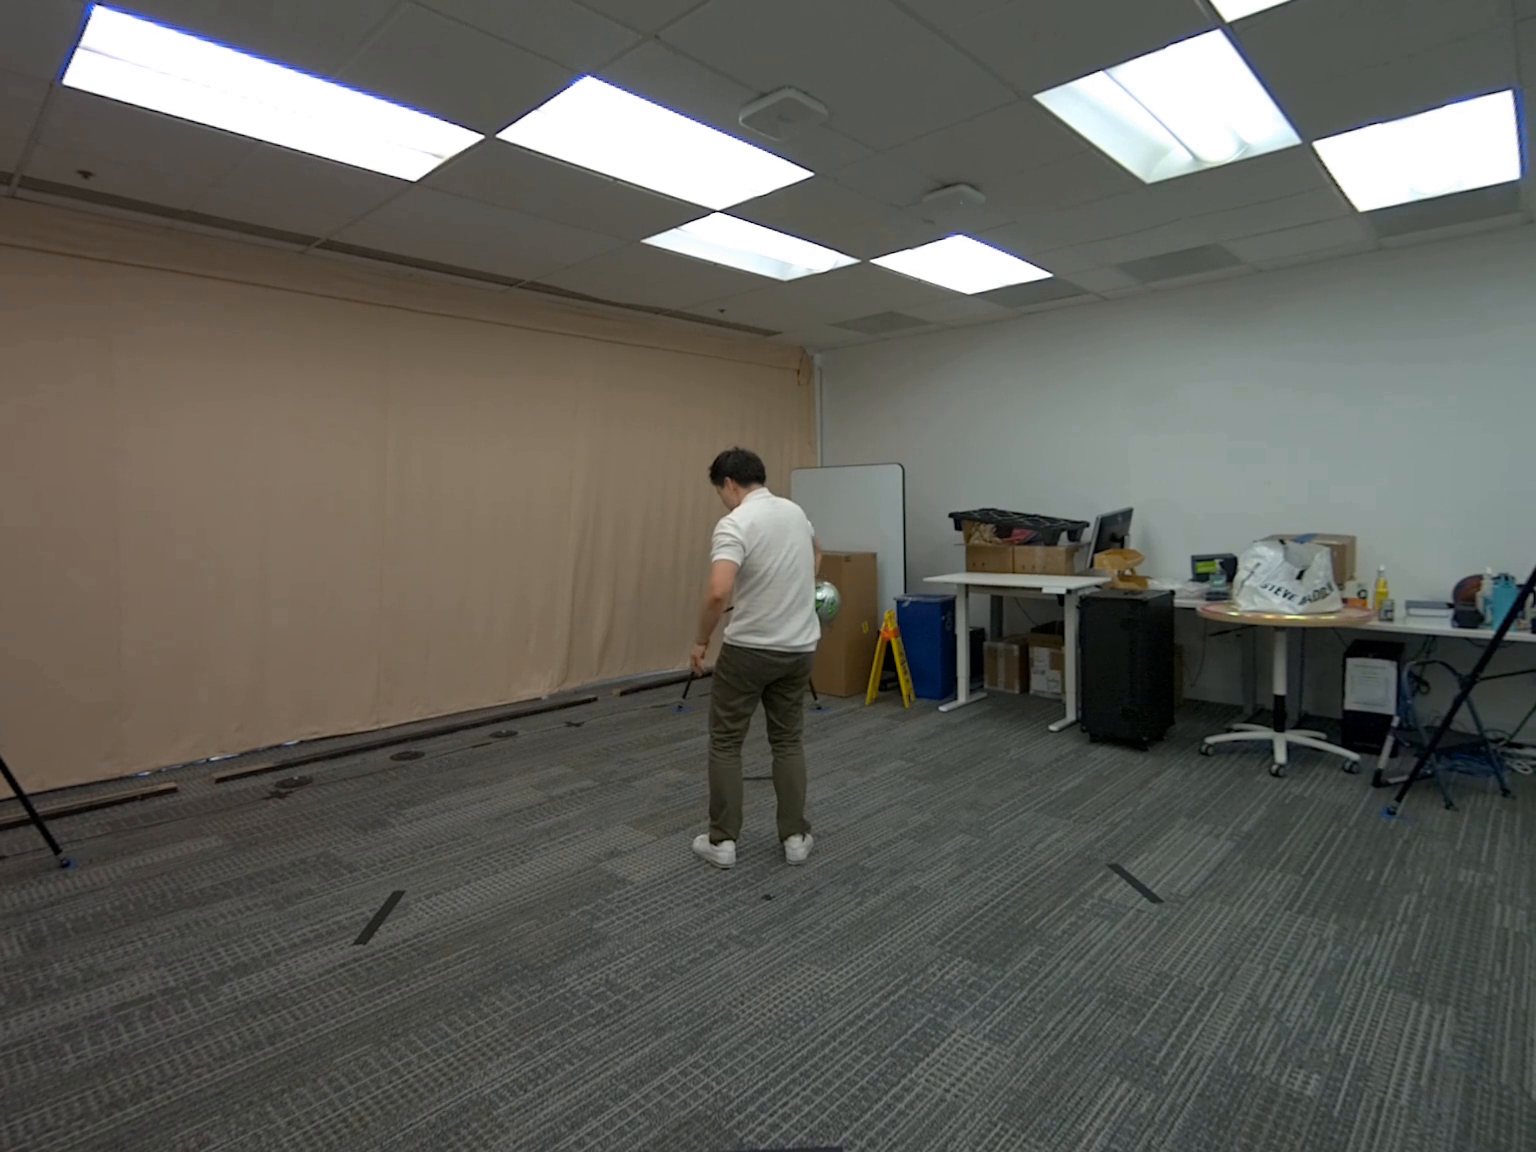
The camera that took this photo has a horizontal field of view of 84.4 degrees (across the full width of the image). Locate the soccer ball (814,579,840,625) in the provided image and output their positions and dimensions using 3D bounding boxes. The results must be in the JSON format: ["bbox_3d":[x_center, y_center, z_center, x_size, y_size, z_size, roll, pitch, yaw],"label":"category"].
[{"bbox_3d":[0.201,0.101,3.493,0.187,0.187,0.188,-1,4,-2],"label":"soccer ball"}]
